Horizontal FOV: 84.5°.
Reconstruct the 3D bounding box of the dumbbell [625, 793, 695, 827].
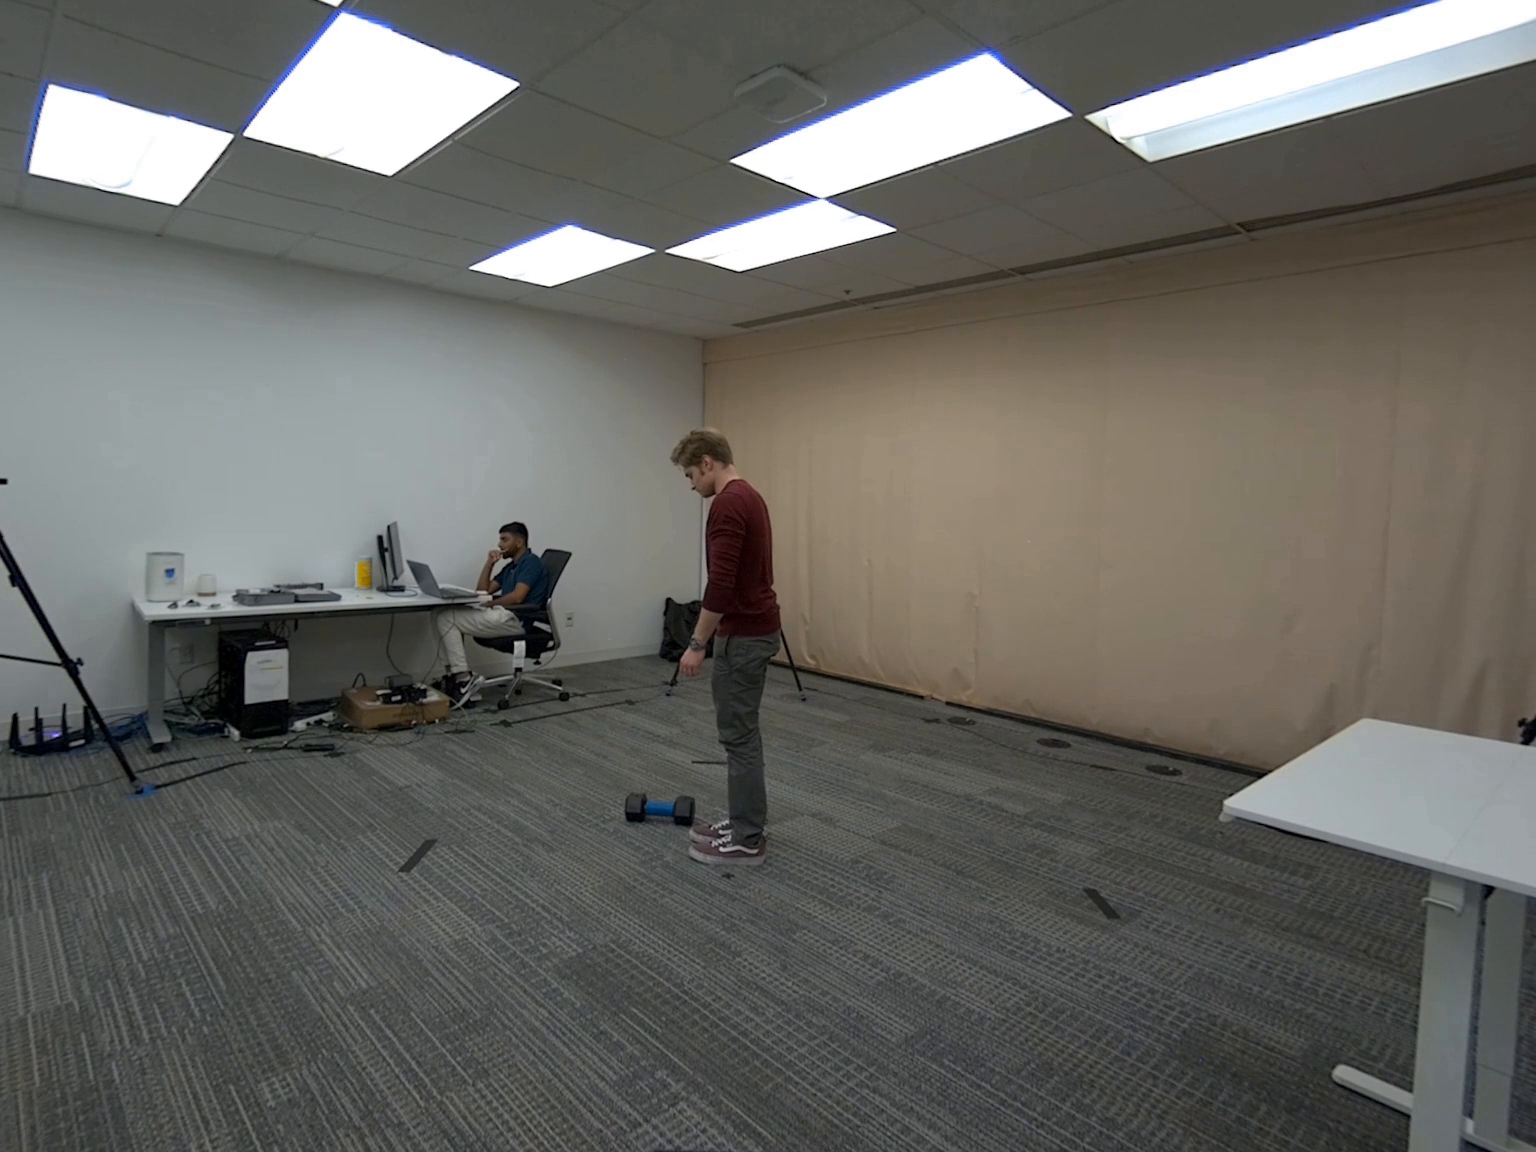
[{"bbox_3d":[-0.474,1.002,3.615,0.295,0.120,0.110,2,35,6],"label":"dumbbell"}]
